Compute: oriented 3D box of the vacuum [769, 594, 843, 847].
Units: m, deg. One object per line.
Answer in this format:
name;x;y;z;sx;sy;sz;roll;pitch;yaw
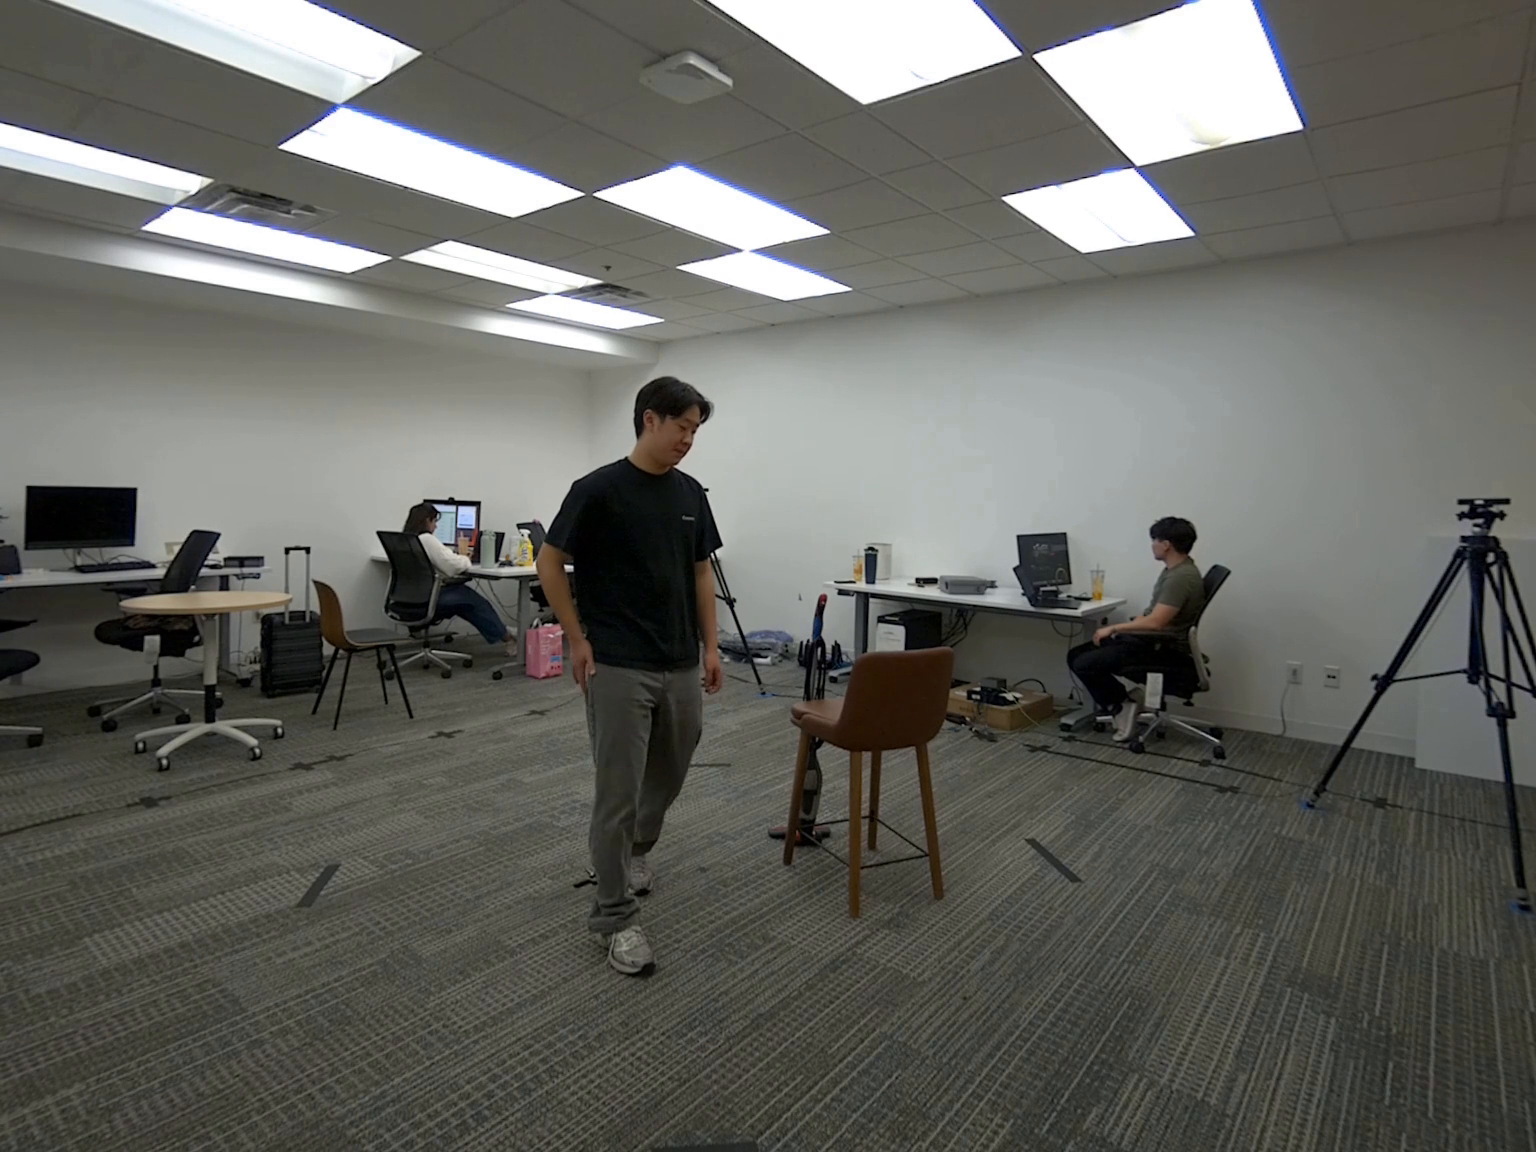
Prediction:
vacuum;0.153;0.555;3.227;0.252;1.033;0.147;3;18;-3
